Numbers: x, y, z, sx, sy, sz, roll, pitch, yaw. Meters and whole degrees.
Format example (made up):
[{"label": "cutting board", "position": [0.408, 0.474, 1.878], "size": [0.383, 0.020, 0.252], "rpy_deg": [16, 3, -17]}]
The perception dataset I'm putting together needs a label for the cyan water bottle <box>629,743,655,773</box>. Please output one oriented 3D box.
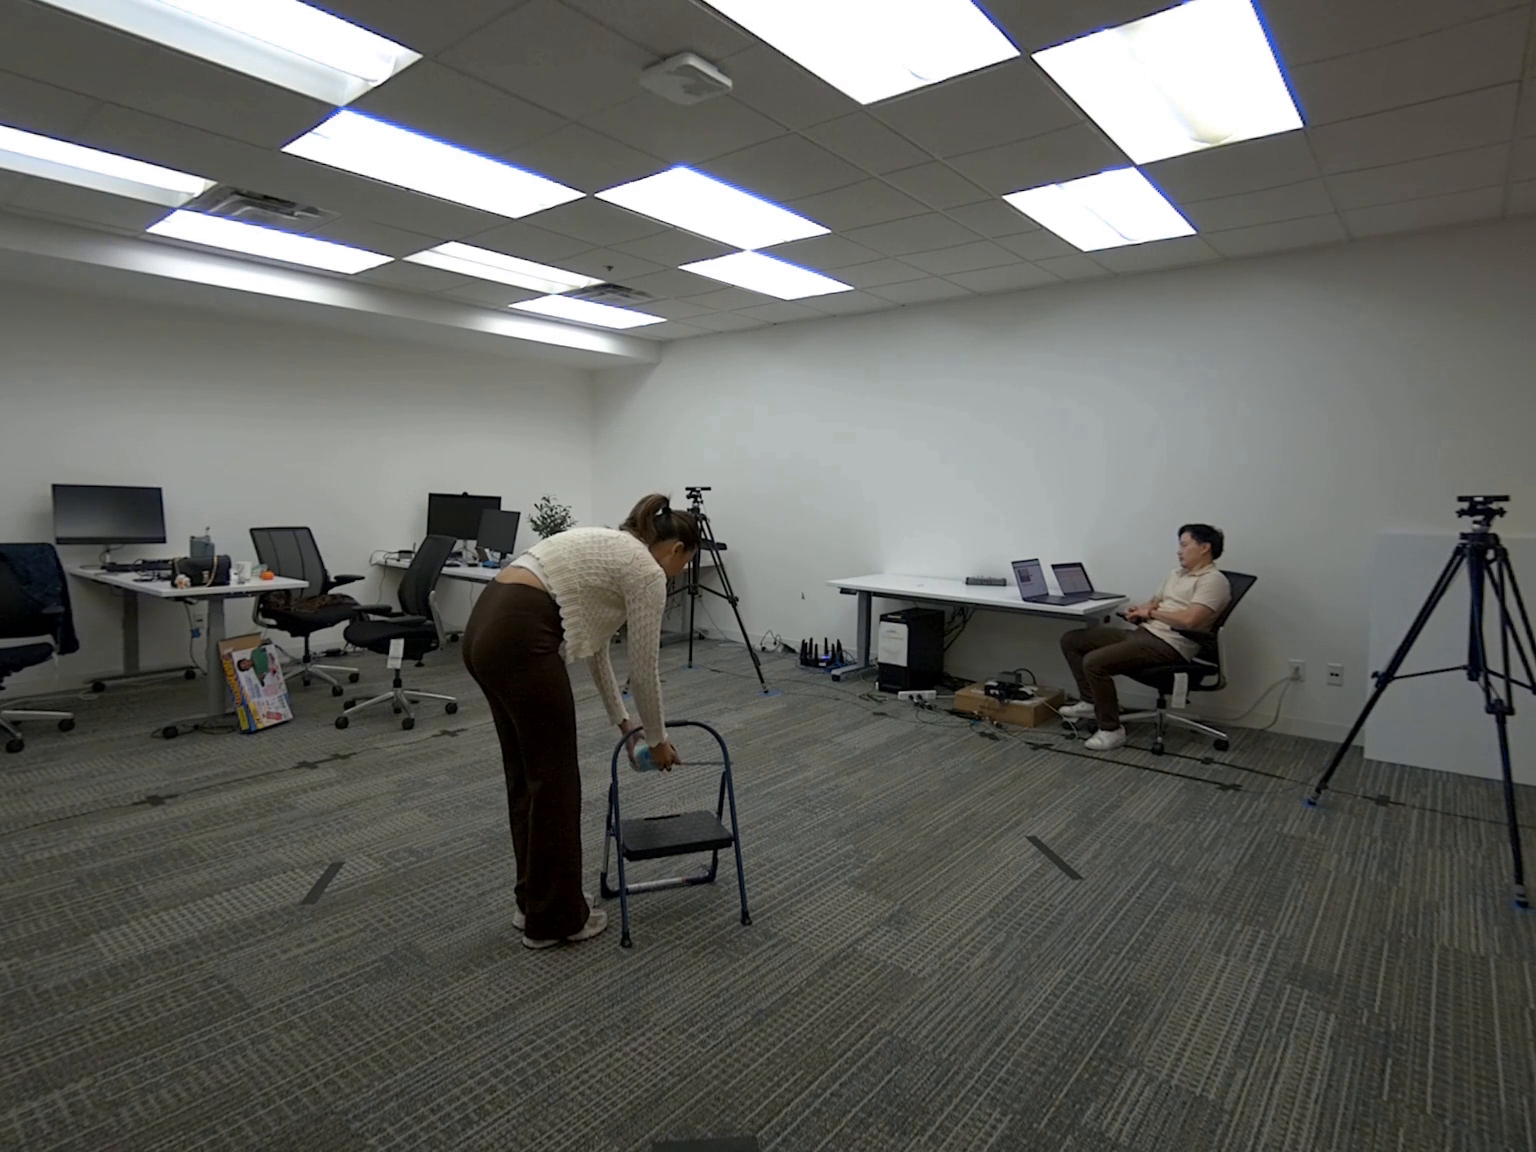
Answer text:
[{"label": "cyan water bottle", "position": [-0.404, 0.614, 2.891], "size": [0.090, 0.094, 0.285], "rpy_deg": [0, -14, -23]}]
